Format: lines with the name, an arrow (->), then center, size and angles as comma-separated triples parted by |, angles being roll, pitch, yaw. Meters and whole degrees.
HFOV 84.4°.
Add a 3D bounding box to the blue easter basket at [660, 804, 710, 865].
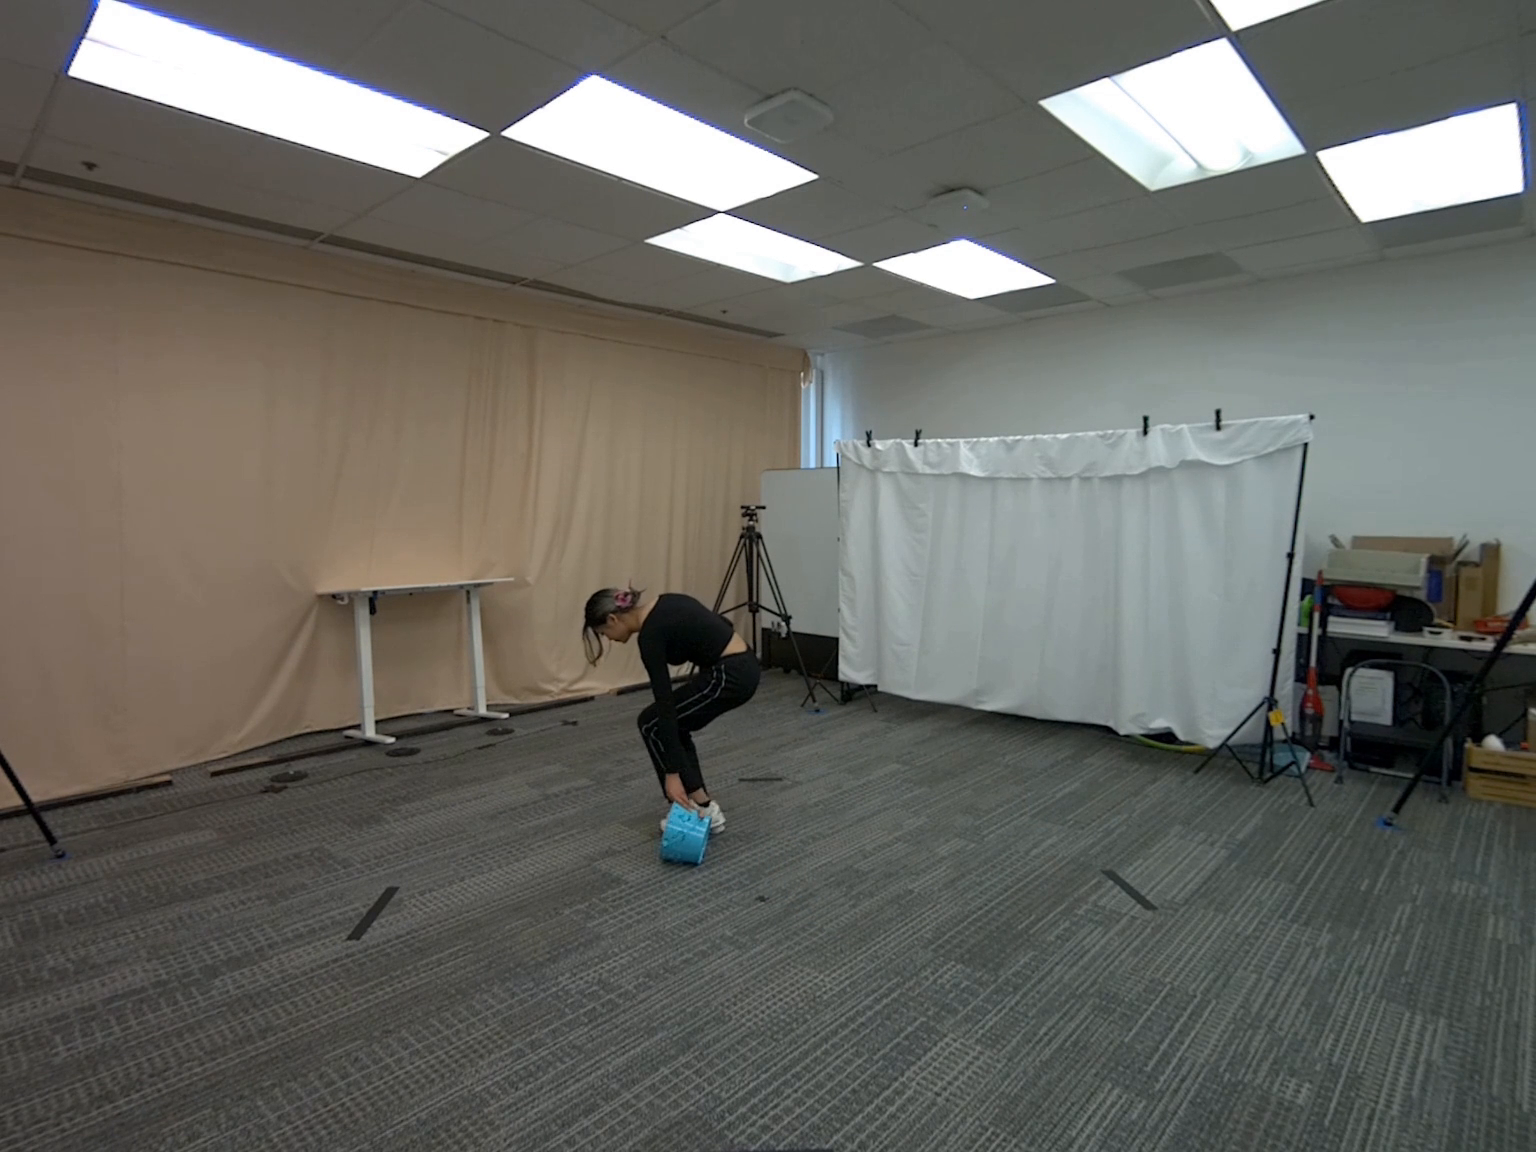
blue easter basket -> -0.321, 1.005, 3.298 | 0.157, 0.243, 0.241 | 11, 6, 8
